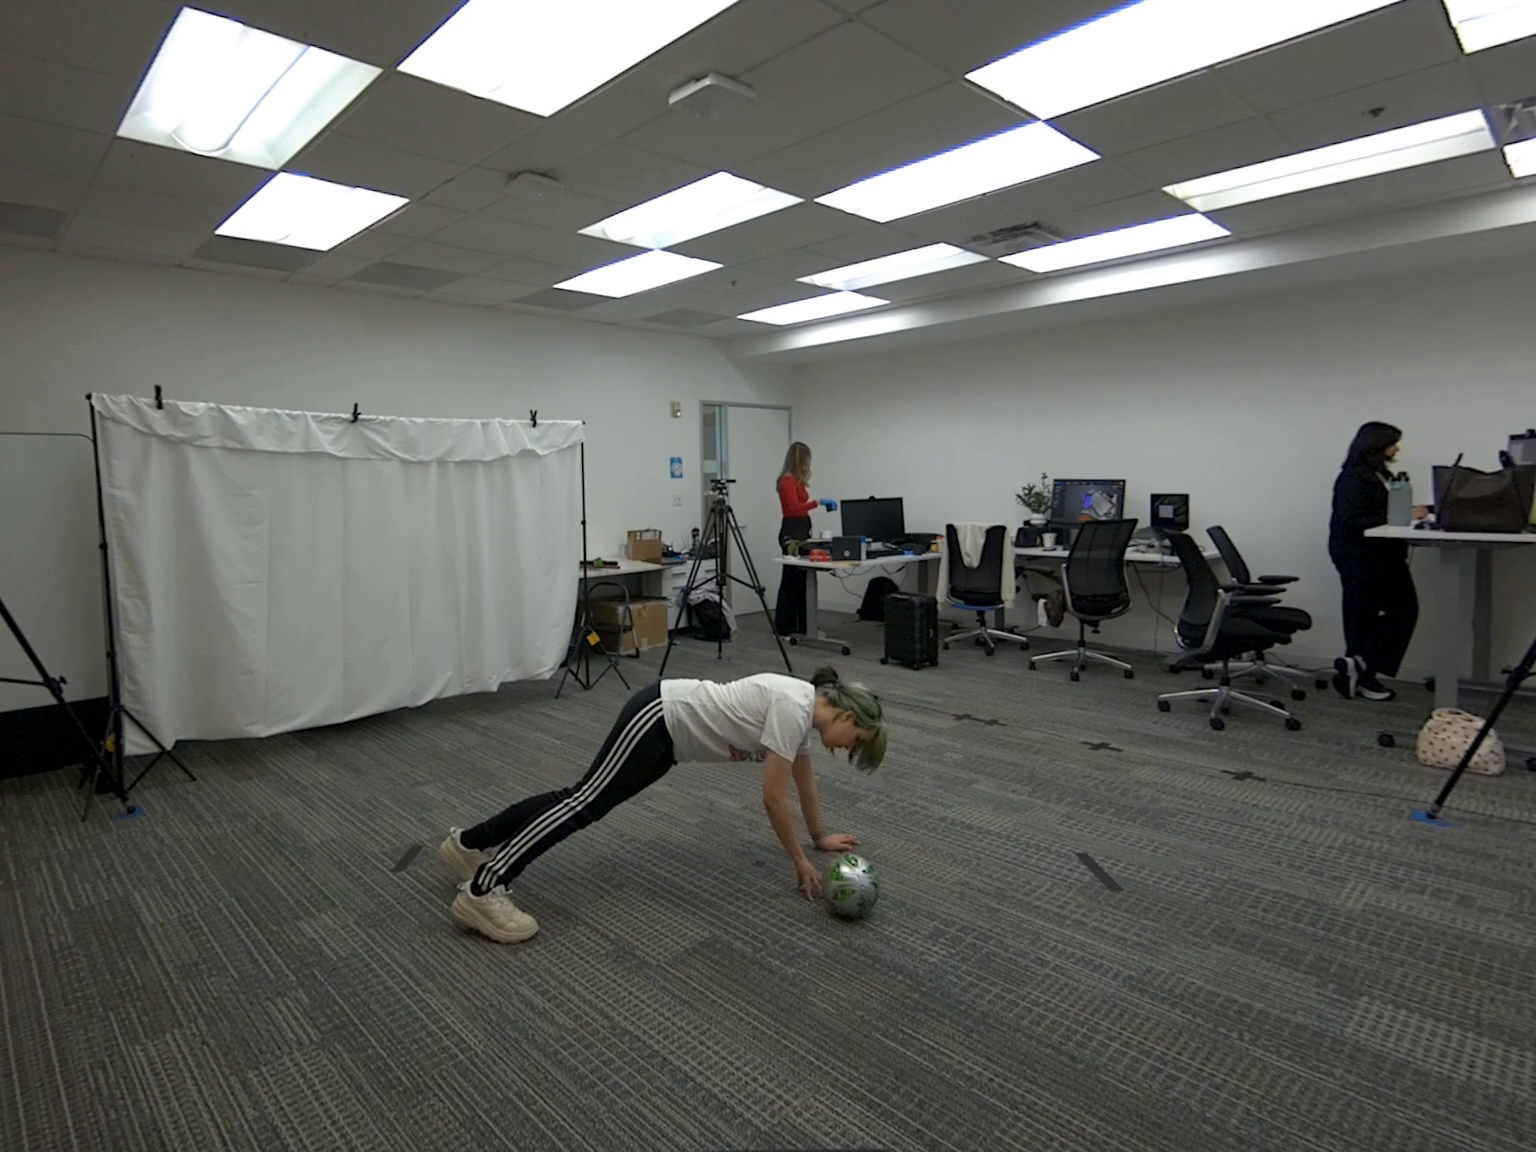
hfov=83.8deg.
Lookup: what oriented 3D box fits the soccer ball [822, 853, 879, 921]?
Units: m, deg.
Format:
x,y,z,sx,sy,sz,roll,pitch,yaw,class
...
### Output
x,y,z,sx,sy,sz,roll,pitch,yaw,class
0.261,0.986,2.727,0.187,0.187,0.188,-1,5,-2,soccer ball
